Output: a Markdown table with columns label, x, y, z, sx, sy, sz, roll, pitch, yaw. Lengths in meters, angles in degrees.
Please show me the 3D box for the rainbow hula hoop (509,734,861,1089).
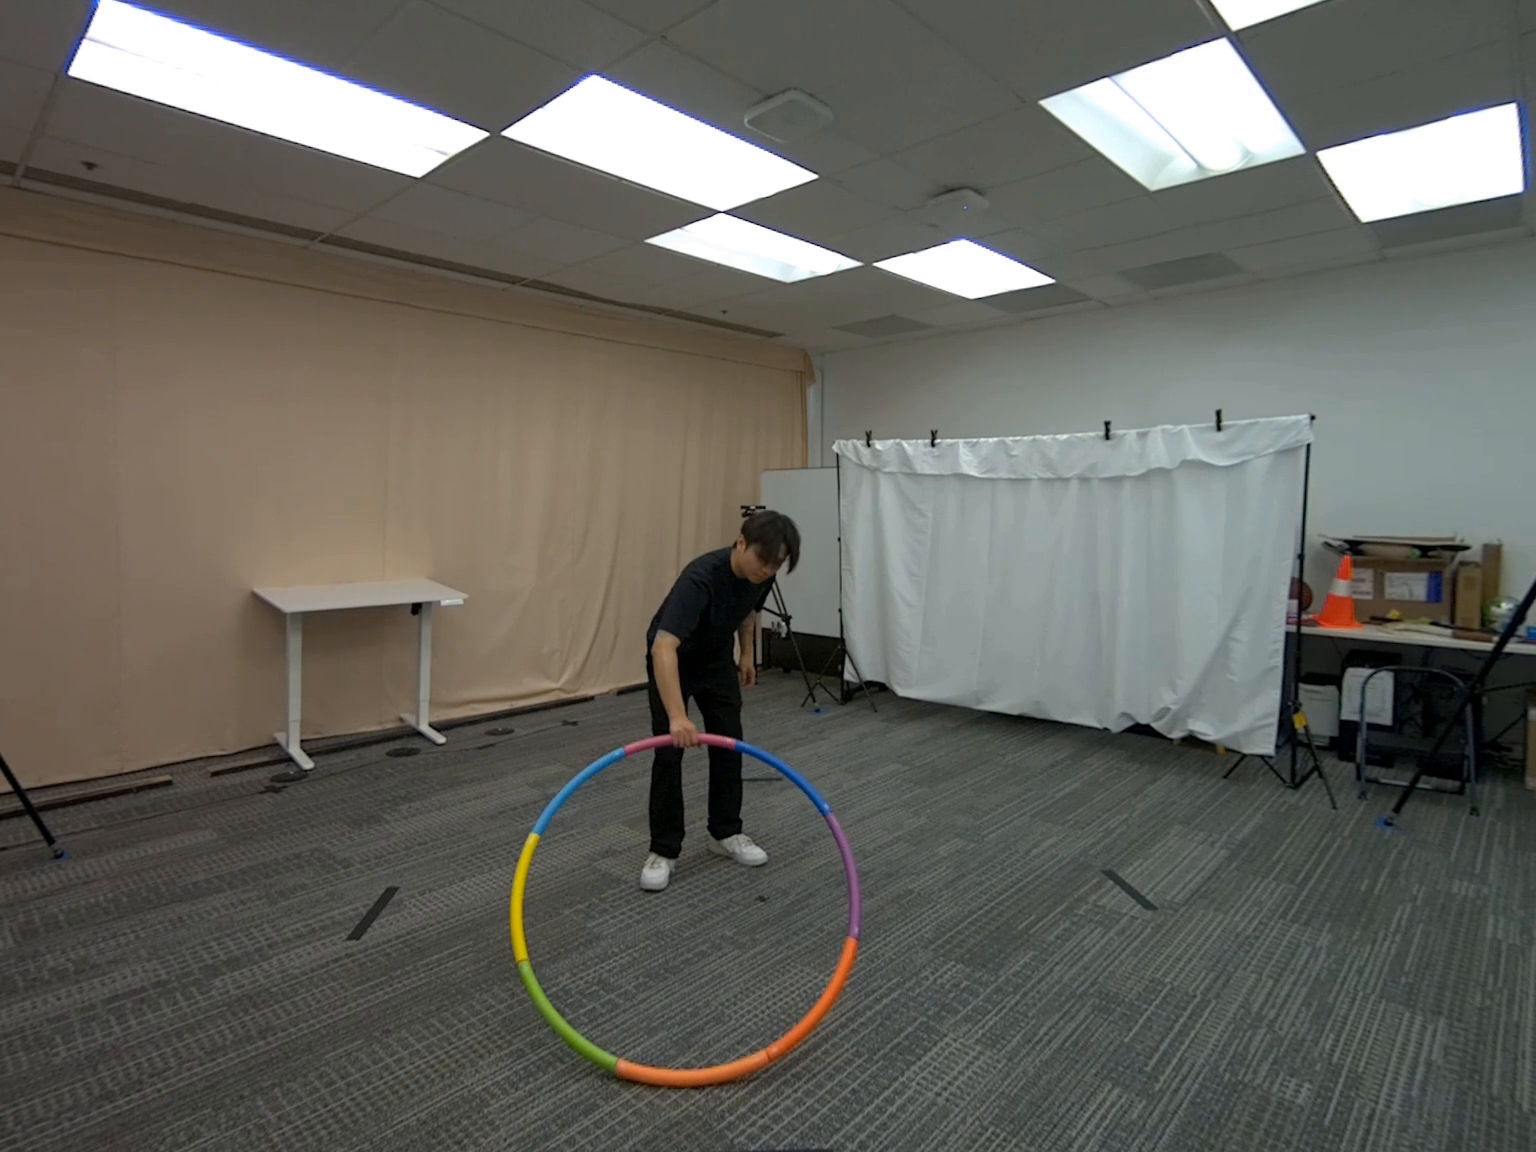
| label | x | y | z | sx | sy | sz | roll | pitch | yaw |
| --- | --- | --- | --- | --- | --- | --- | --- | --- | --- |
| rainbow hula hoop | -0.220 | 0.864 | 2.379 | 0.979 | 0.035 | 0.998 | -2 | 44 | 0 |
